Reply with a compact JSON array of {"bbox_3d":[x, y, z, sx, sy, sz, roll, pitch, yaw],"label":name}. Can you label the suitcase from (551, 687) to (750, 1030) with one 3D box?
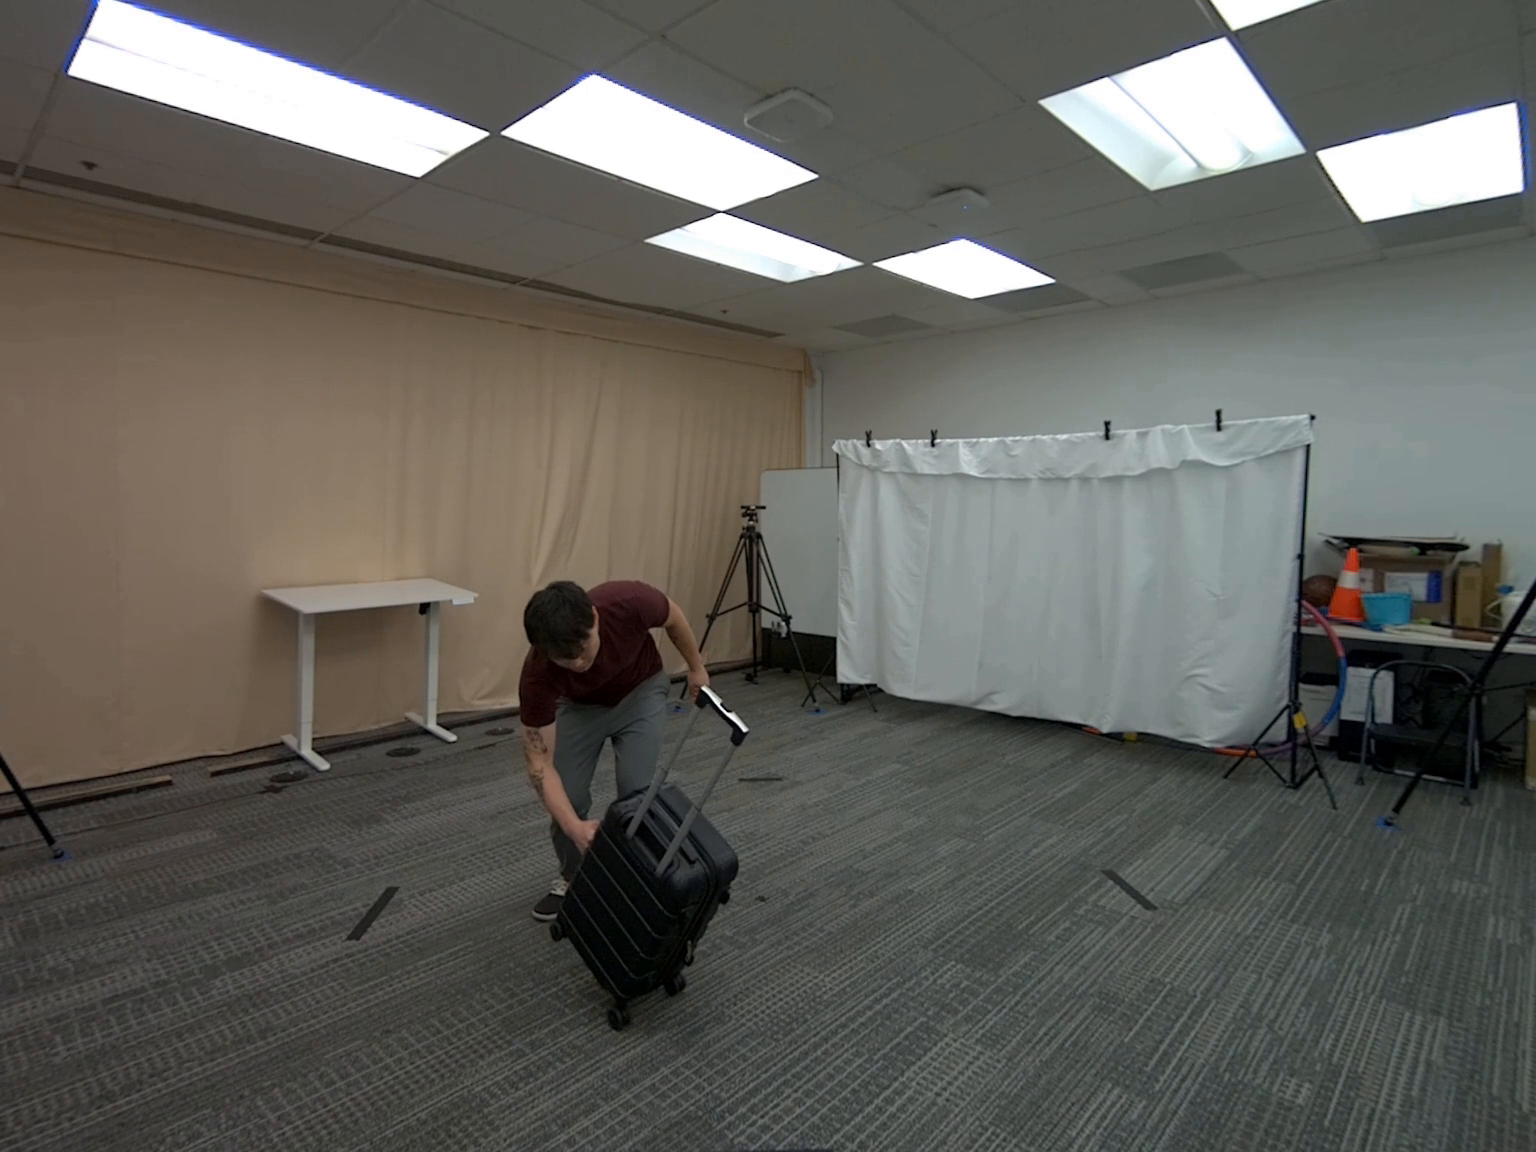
[{"bbox_3d":[-0.243,0.707,2.244,0.397,0.977,0.249,41,25,31],"label":"suitcase"}]
